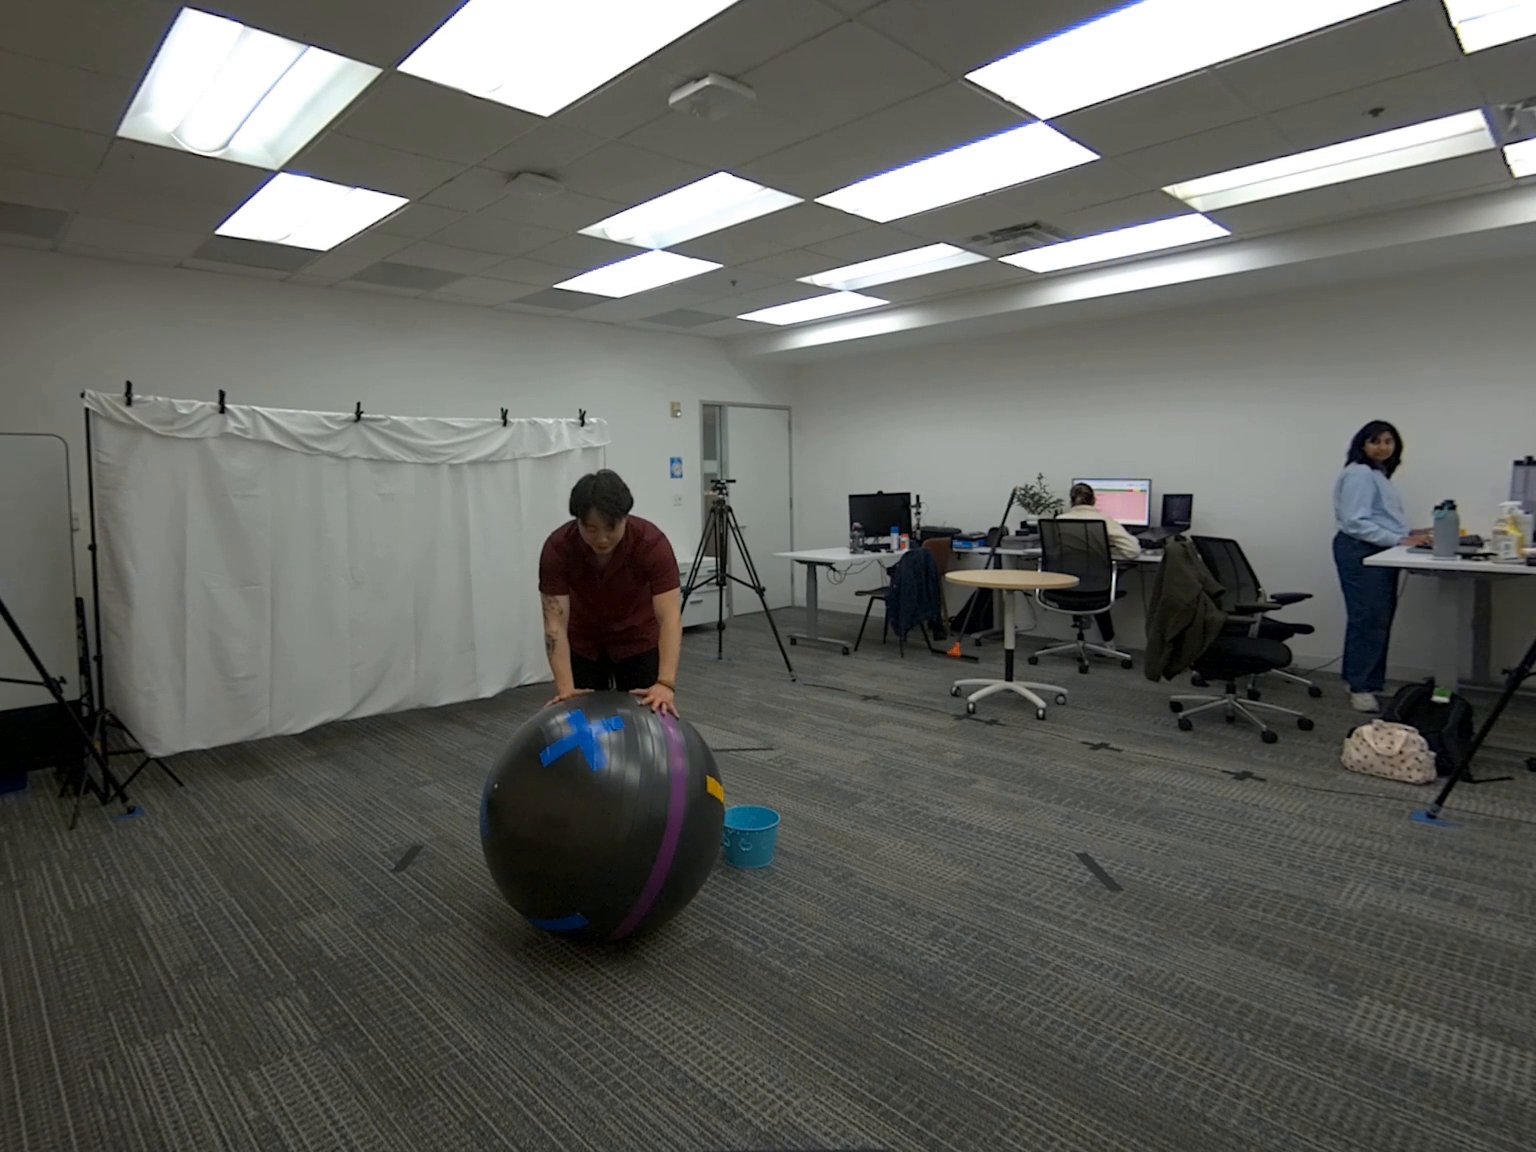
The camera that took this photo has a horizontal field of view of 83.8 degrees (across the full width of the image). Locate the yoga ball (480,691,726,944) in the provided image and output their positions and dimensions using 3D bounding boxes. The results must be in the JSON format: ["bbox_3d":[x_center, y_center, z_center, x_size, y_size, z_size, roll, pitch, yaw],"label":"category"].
[{"bbox_3d":[-0.520,0.746,2.690,0.757,0.755,0.762,-1,5,-2],"label":"yoga ball"}]
